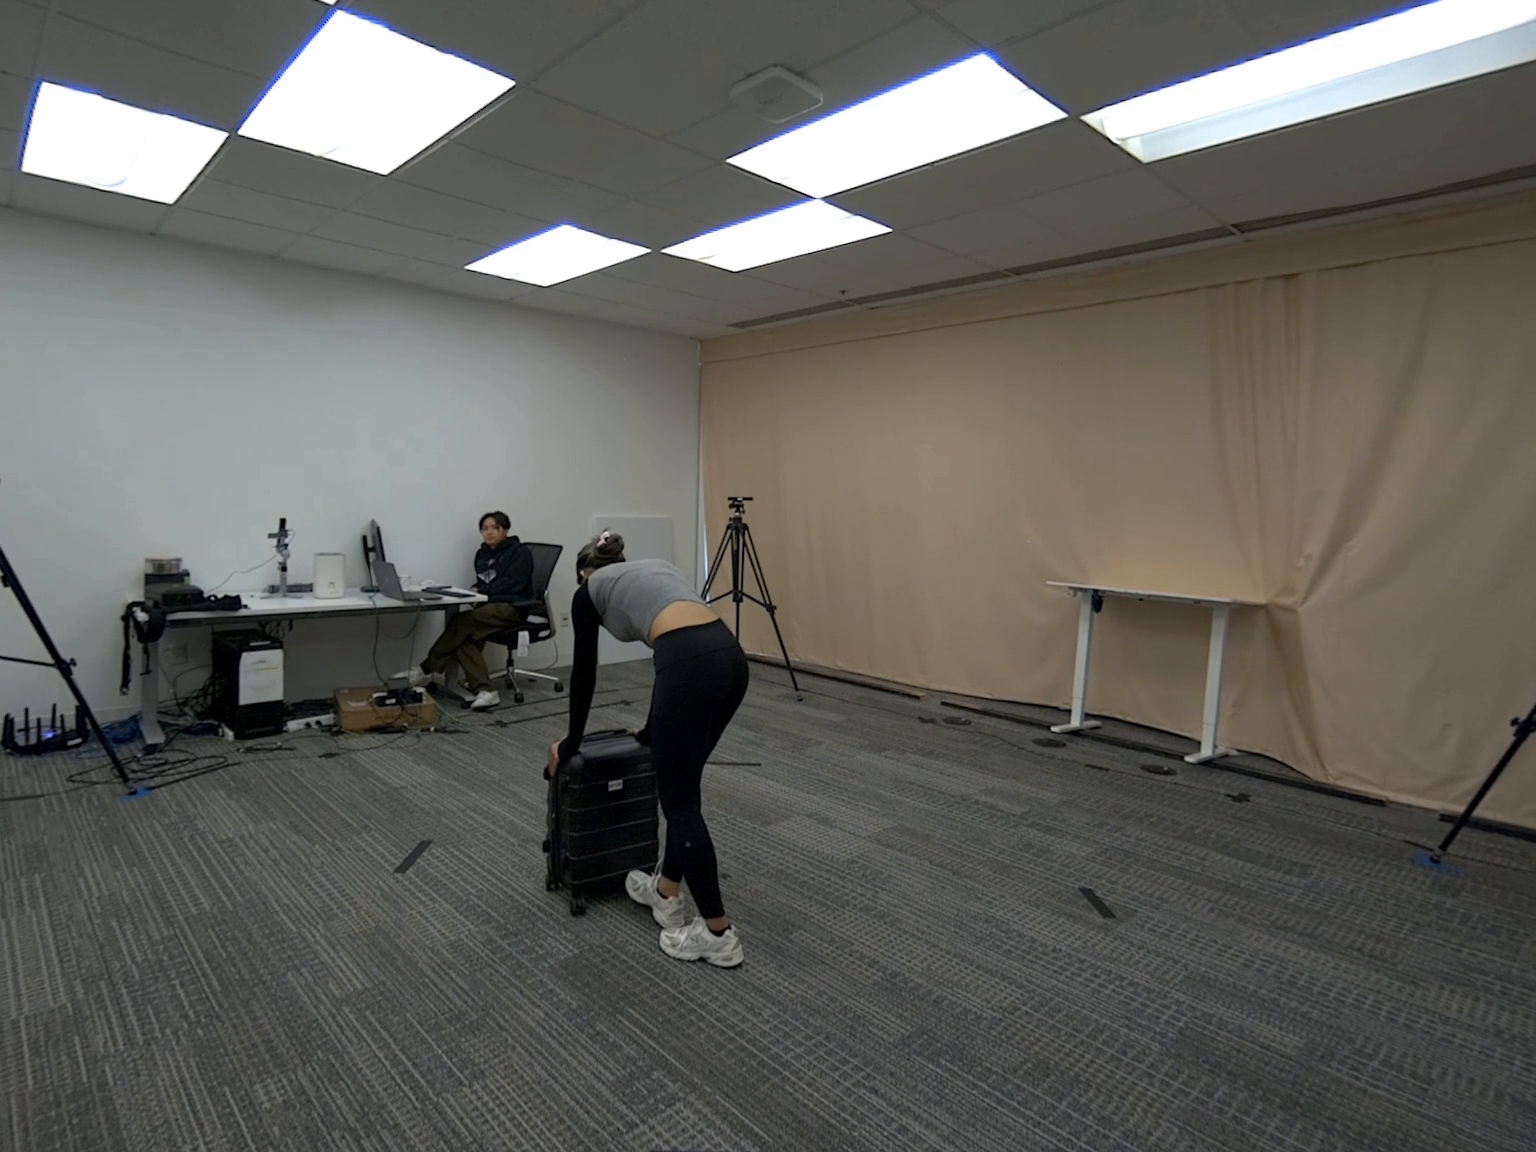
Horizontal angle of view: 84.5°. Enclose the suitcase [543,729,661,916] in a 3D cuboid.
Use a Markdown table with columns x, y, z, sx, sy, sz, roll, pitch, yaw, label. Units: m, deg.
| x | y | z | sx | sy | sz | roll | pitch | yaw | label |
| --- | --- | --- | --- | --- | --- | --- | --- | --- | --- |
| -0.591 | 0.834 | 2.976 | 0.367 | 0.548 | 0.254 | -1 | 3 | -34 | suitcase |
